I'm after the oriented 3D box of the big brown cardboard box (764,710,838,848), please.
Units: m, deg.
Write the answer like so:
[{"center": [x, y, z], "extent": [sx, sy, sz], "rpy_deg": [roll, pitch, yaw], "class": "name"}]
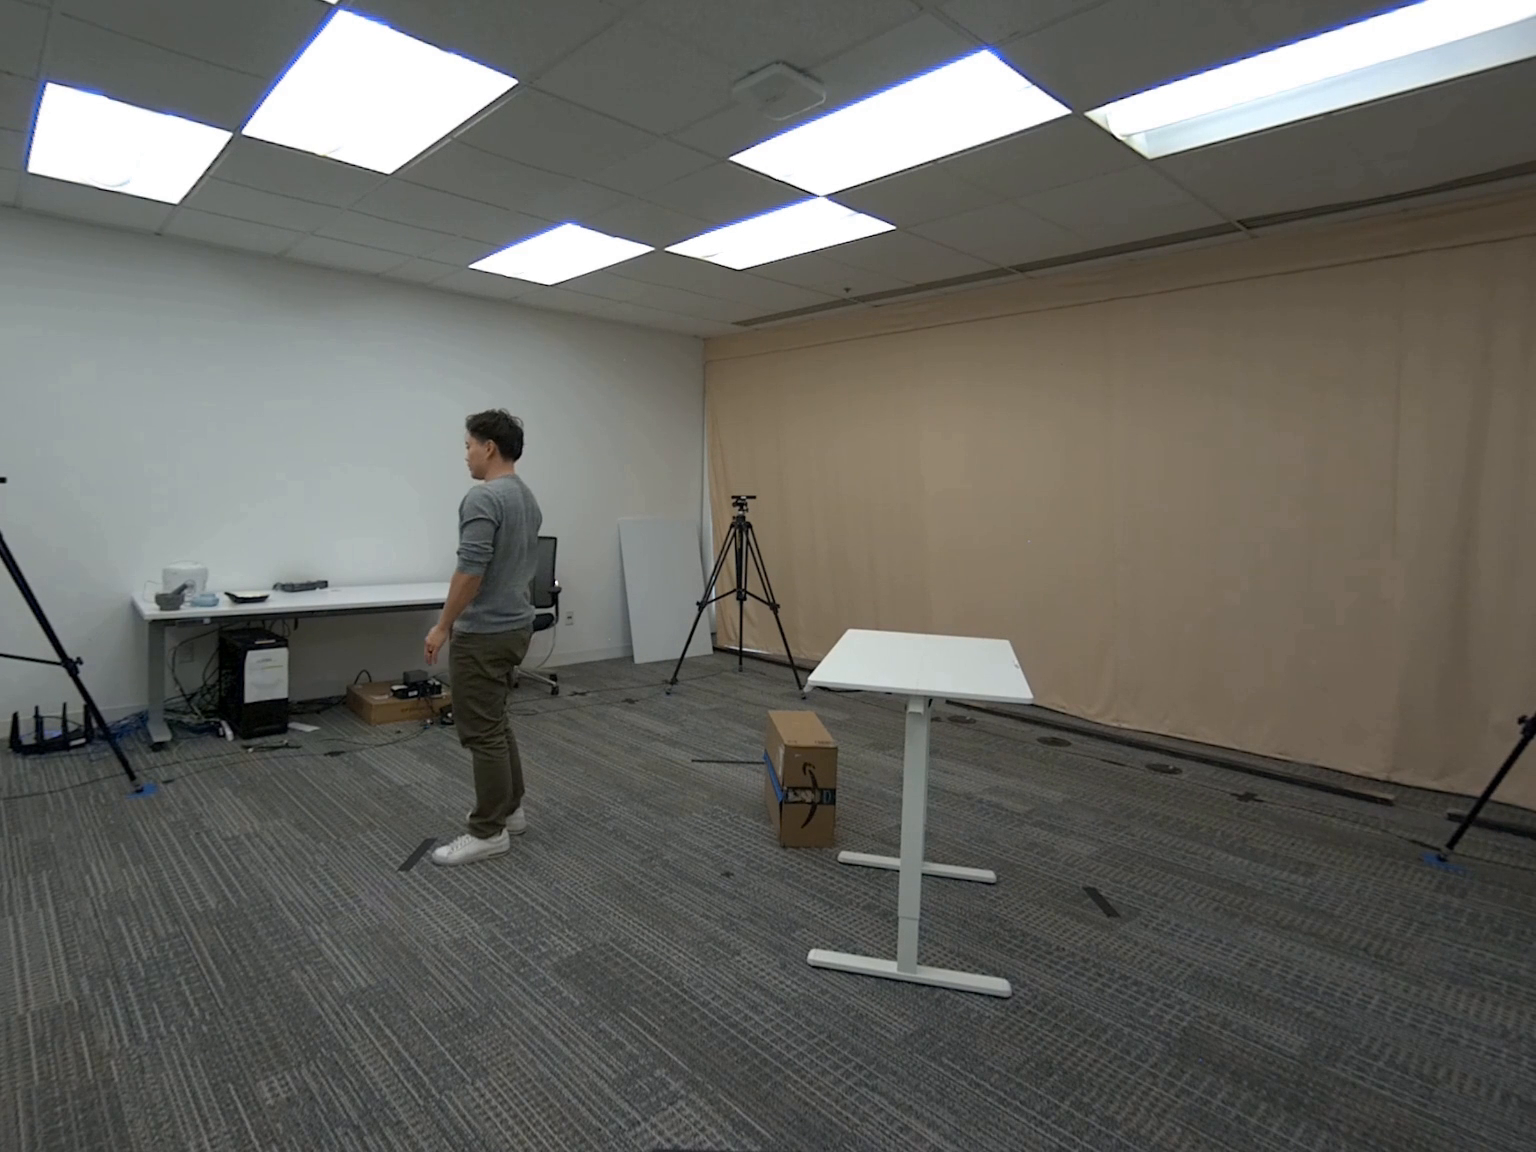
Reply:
[{"center": [0.119, 0.853, 3.626], "extent": [0.232, 0.416, 0.593], "rpy_deg": [2, 4, -6], "class": "big brown cardboard box"}]
